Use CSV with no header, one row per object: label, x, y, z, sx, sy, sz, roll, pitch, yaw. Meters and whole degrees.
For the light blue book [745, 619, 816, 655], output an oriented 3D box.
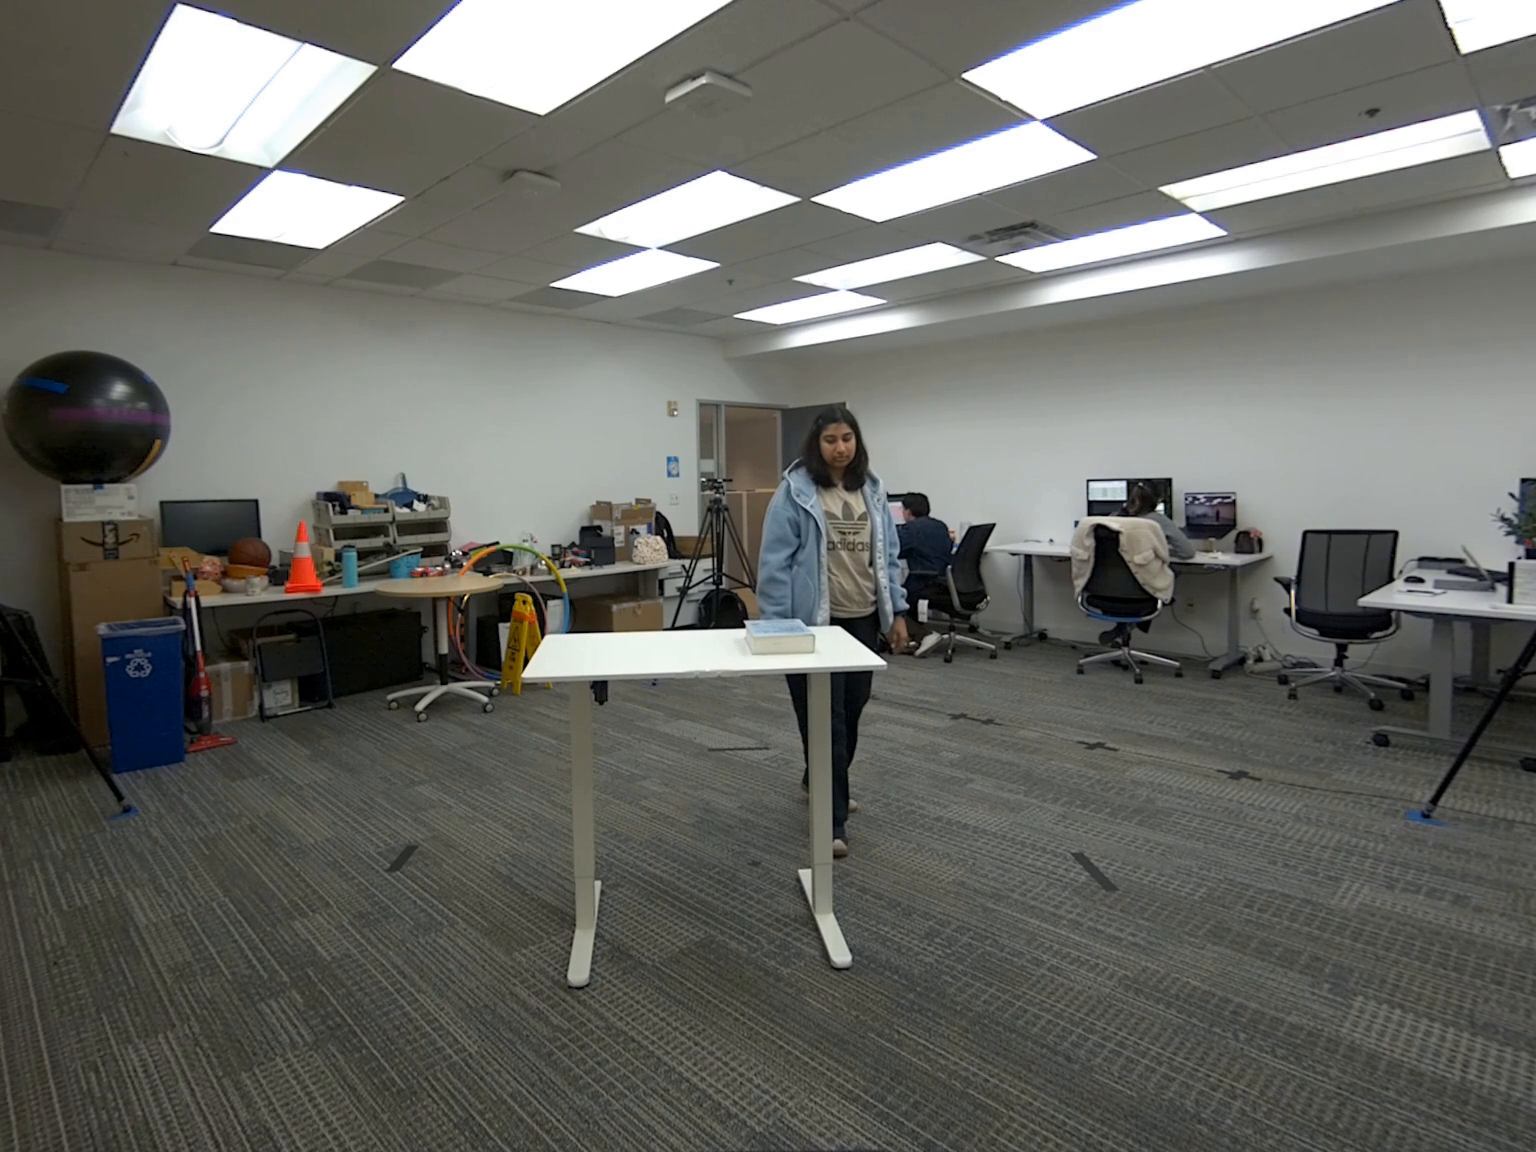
light blue book,0.037,0.191,2.638,0.191,0.059,0.263,-1,6,-5
